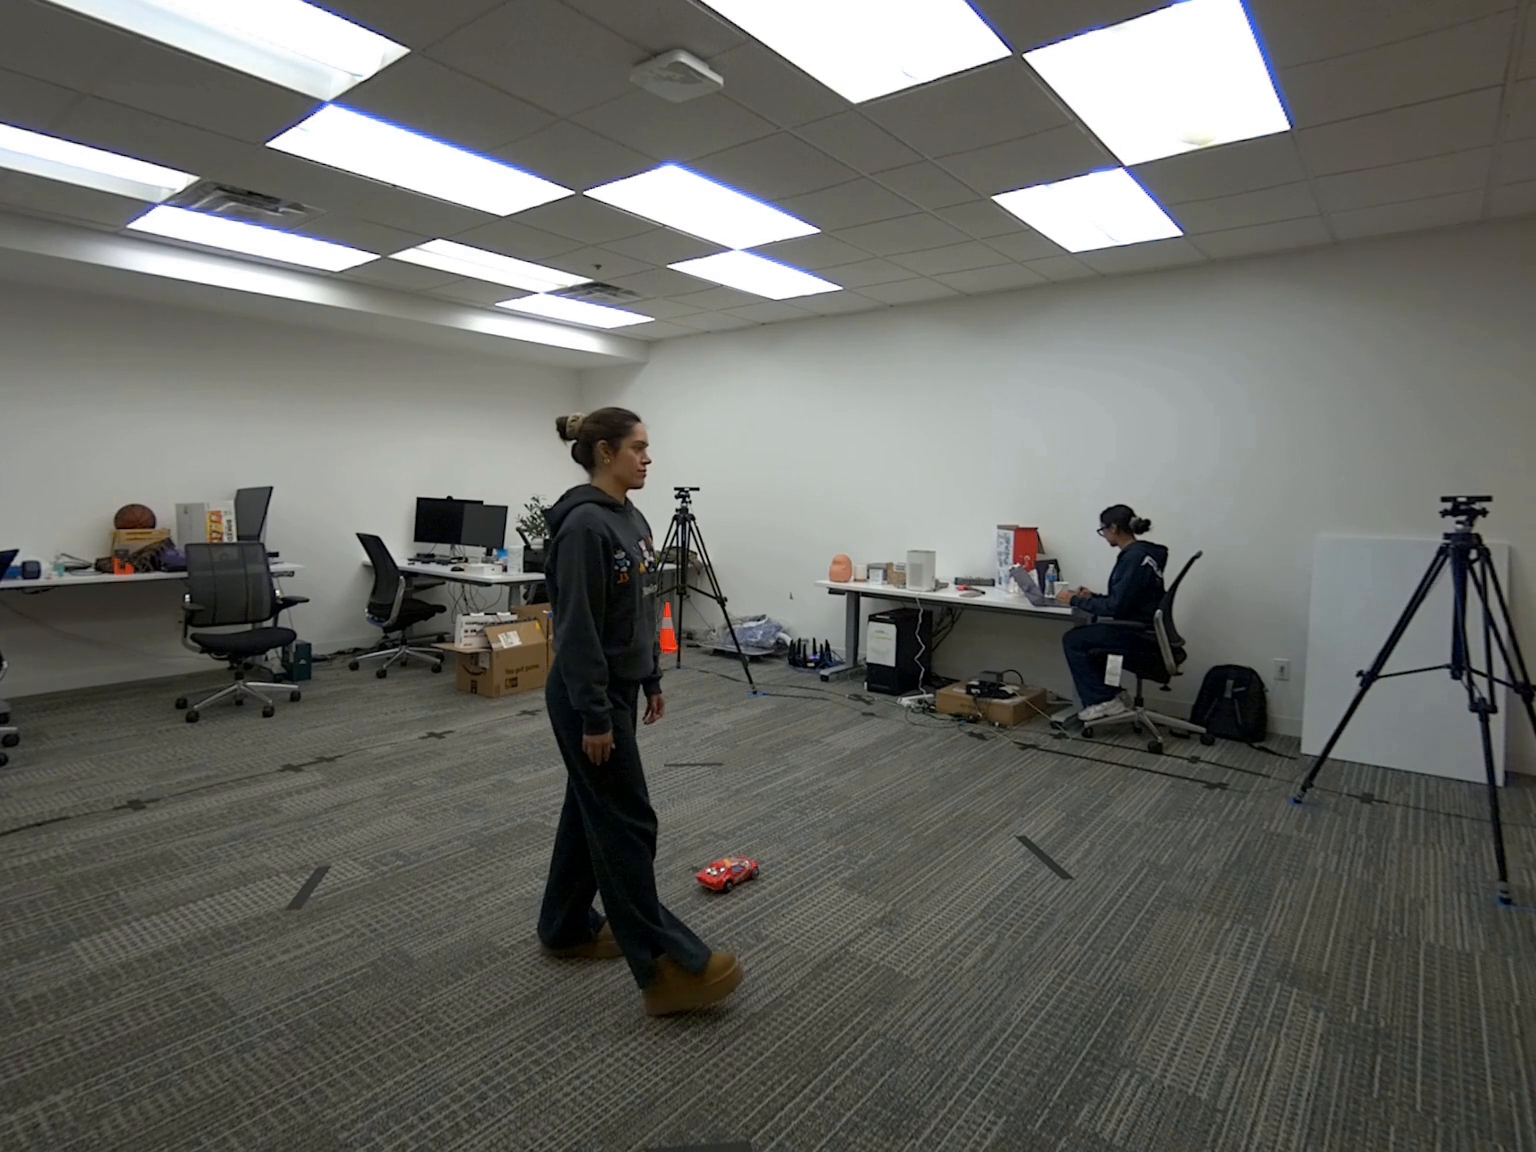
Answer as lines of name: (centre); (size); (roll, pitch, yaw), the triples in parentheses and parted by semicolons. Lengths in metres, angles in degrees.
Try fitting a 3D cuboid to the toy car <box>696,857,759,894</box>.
toy car: (-0.146, 1.046, 2.996); (0.135, 0.083, 0.245); (5, -4, 41)
